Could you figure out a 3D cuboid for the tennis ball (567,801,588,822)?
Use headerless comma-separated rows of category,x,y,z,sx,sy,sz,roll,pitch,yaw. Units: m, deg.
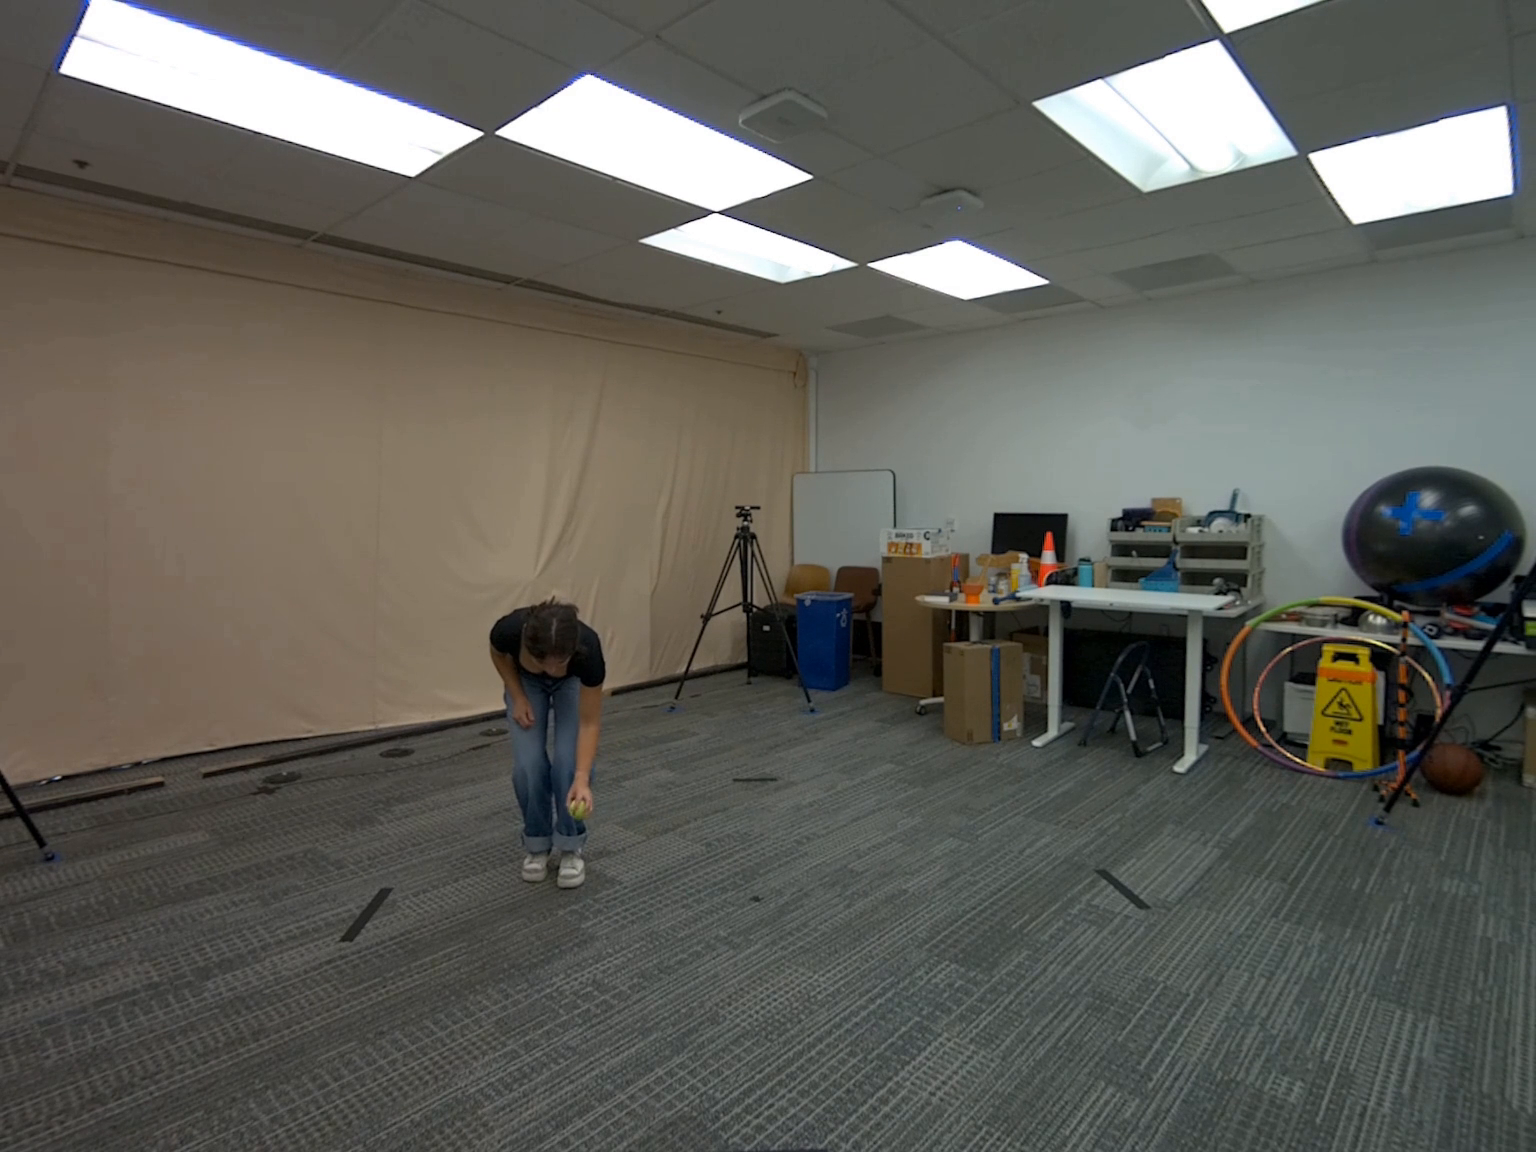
tennis ball,-0.625,0.799,2.835,0.066,0.066,0.067,0,4,-2
